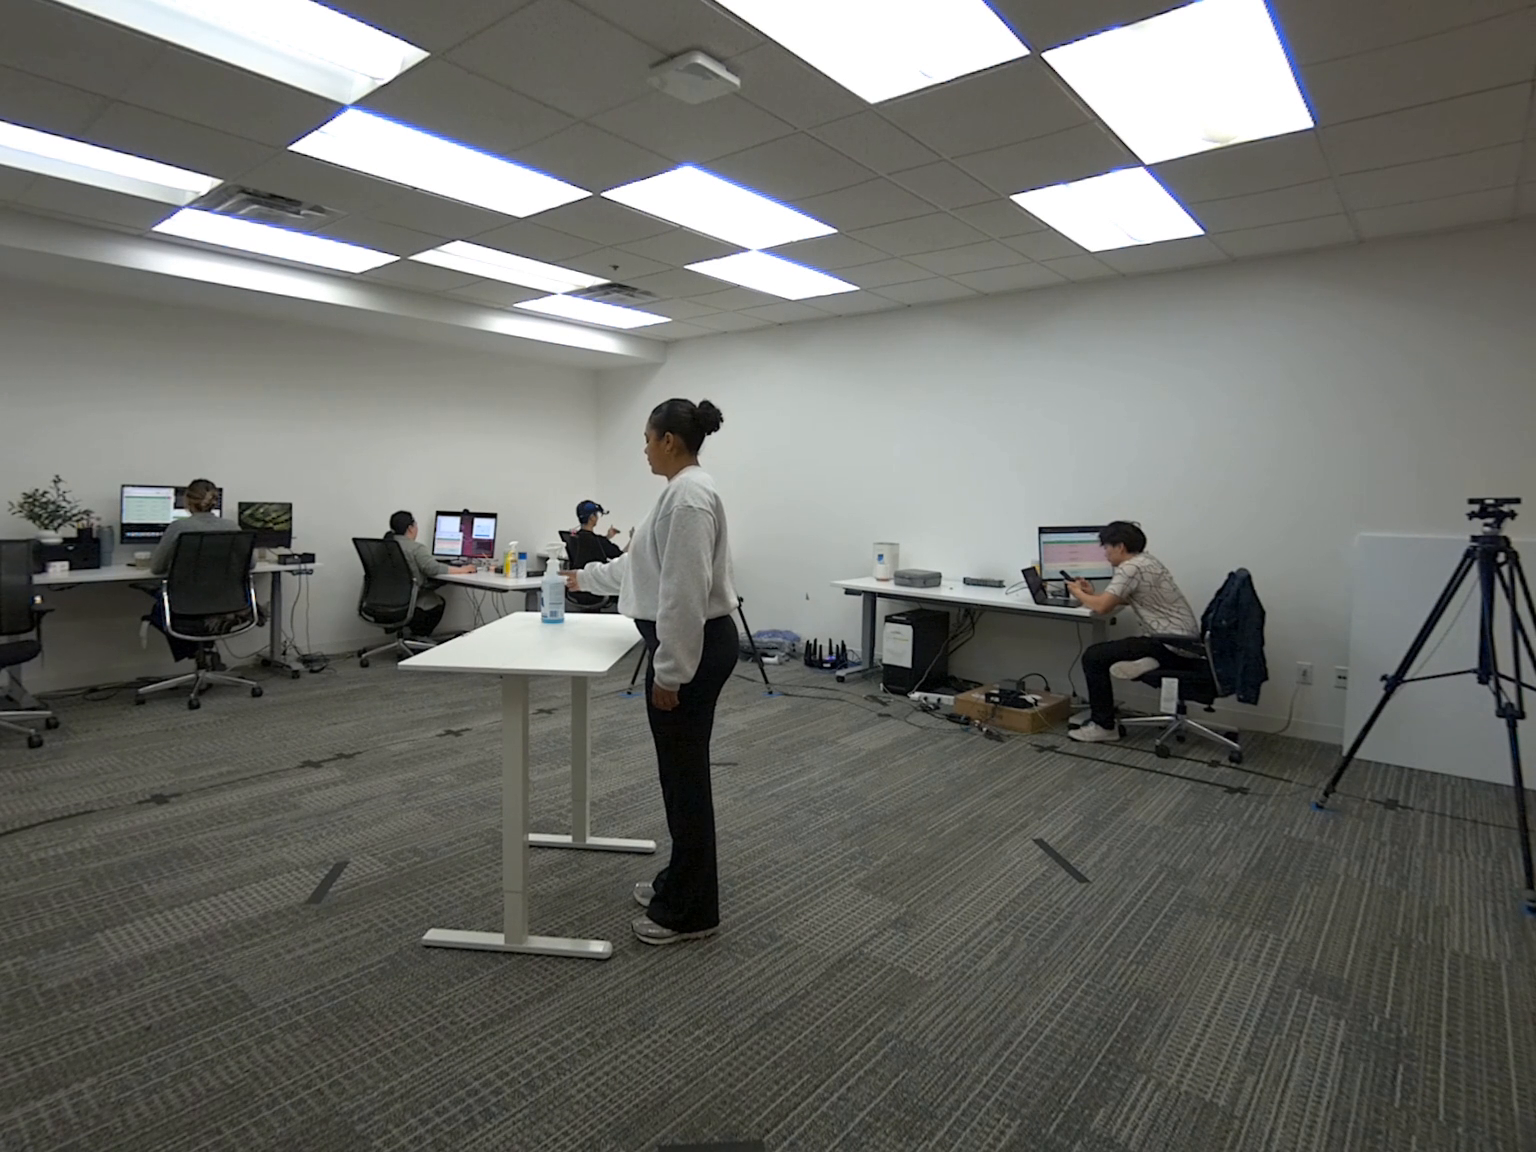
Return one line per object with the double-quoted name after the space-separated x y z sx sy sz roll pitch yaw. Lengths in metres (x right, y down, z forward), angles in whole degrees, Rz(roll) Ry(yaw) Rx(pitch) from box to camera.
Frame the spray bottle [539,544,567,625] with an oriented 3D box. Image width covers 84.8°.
-0.814 0.023 3.153 0.093 0.296 0.084 6 6 43 "spray bottle"
